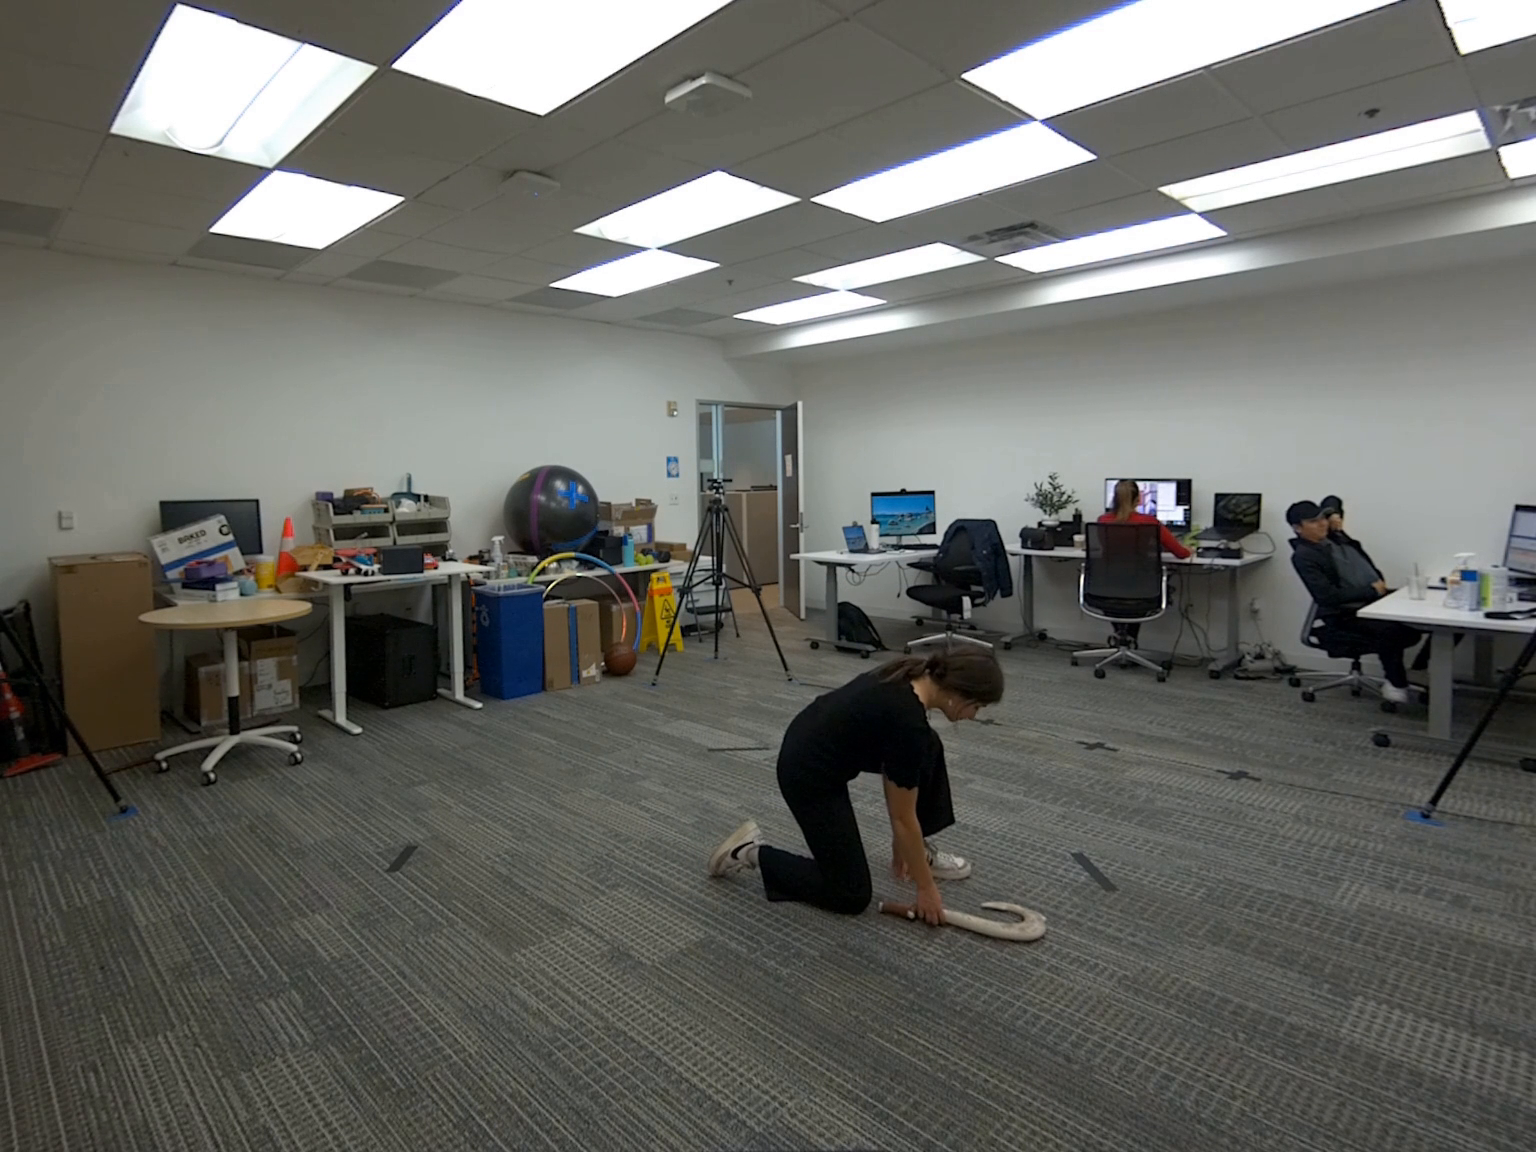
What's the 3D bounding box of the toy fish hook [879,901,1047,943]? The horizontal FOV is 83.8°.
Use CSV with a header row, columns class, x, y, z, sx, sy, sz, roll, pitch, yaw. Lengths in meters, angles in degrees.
class,x,y,z,sx,sy,sz,roll,pitch,yaw
toy fish hook,0.604,1.056,2.705,0.516,0.048,0.220,2,-1,20
